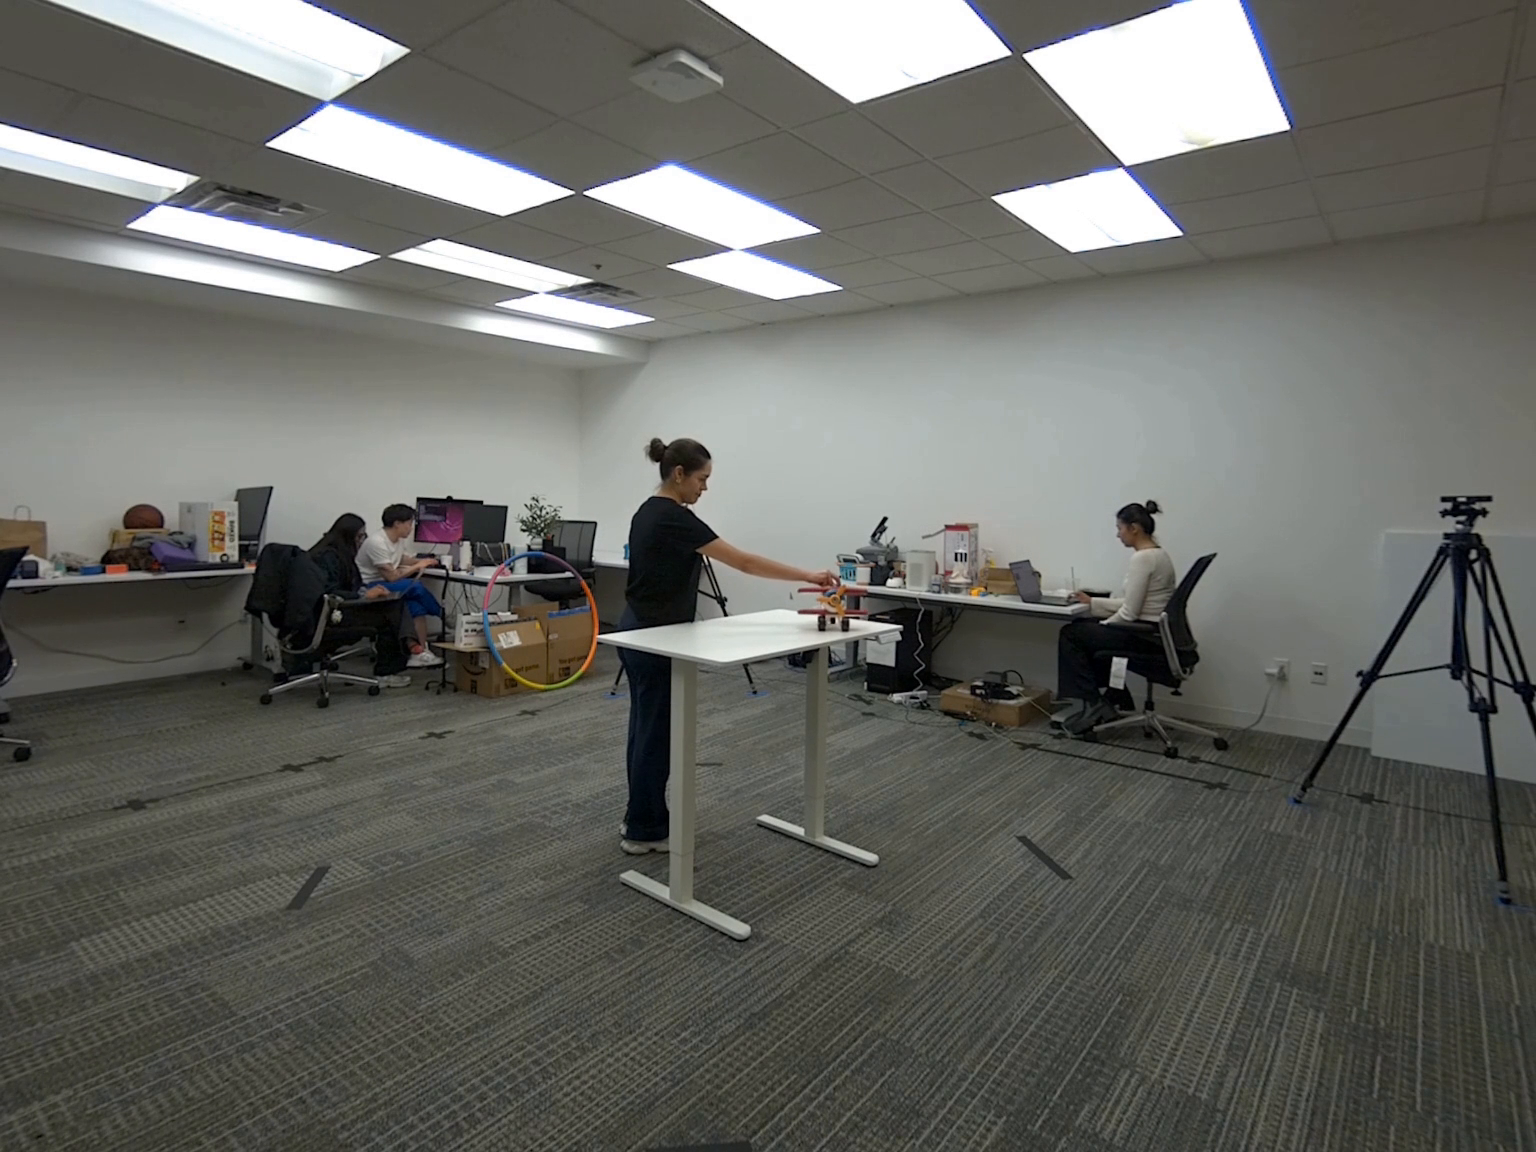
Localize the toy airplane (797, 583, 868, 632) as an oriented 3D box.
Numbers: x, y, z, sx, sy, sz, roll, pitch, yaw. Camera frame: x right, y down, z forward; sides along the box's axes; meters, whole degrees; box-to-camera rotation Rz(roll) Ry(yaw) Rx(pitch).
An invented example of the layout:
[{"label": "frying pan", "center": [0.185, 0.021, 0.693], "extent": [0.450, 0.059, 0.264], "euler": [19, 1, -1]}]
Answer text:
[{"label": "toy airplane", "center": [0.228, 0.107, 3.160], "extent": [0.245, 0.155, 0.267], "euler": [-3, 7, -27]}]
